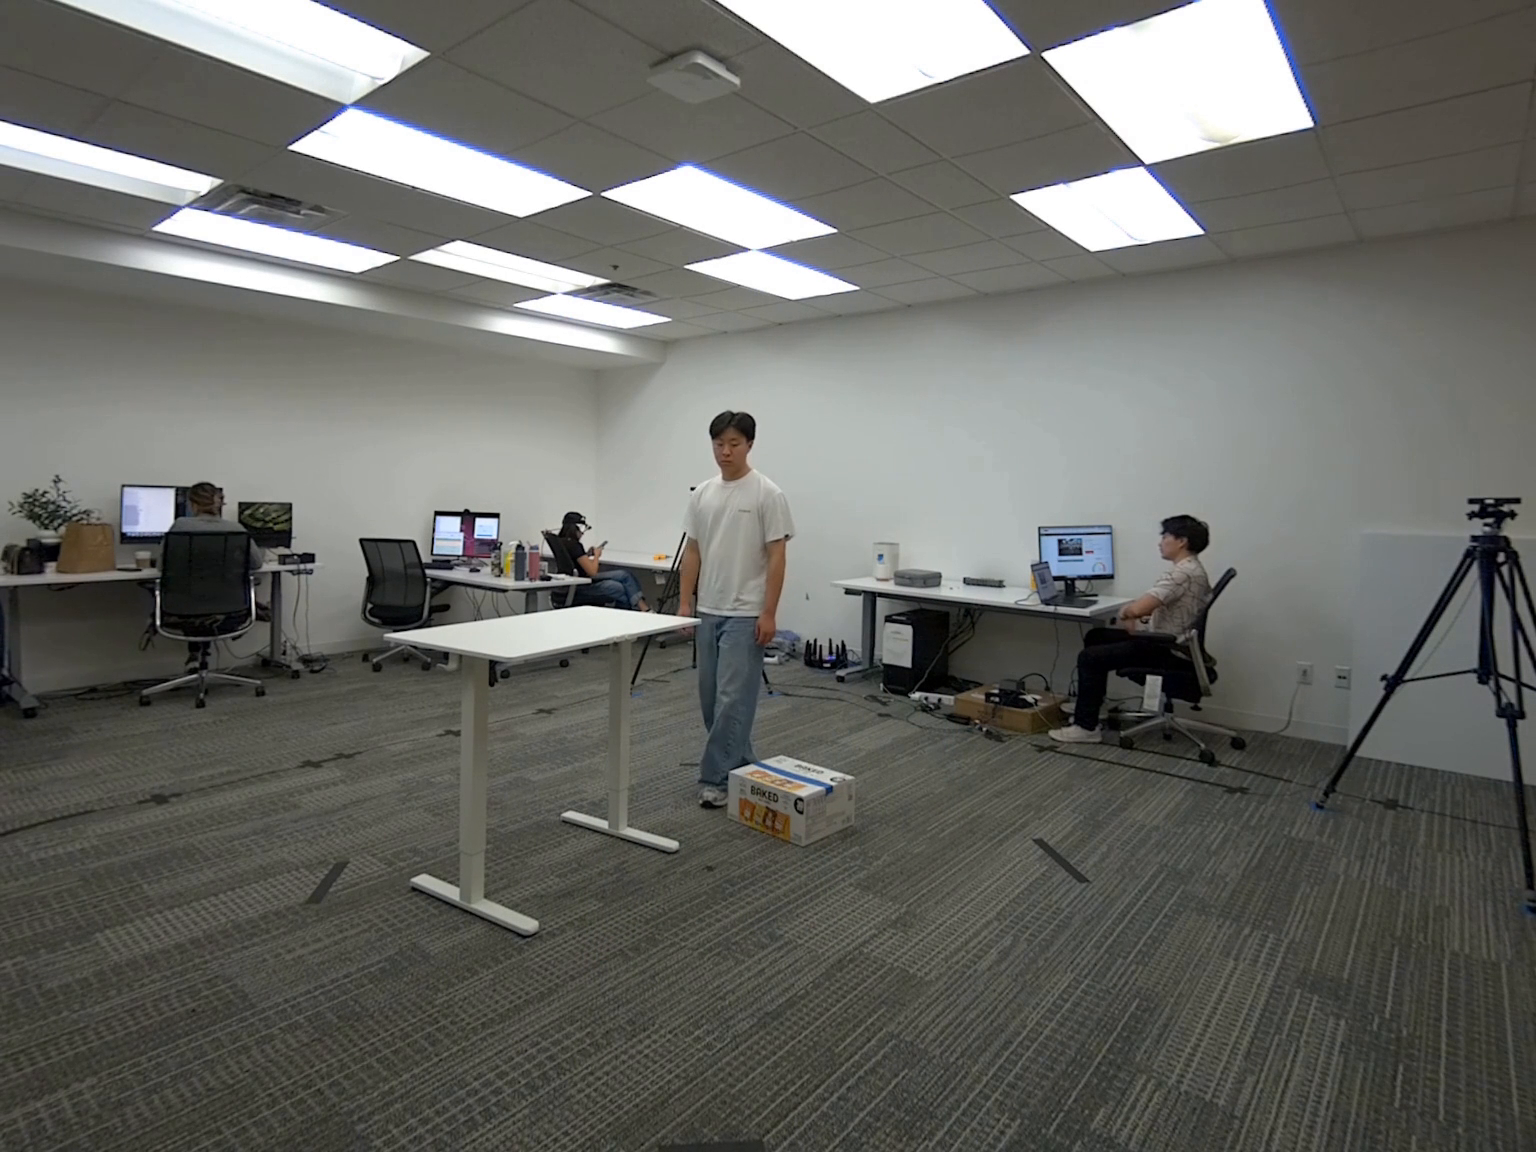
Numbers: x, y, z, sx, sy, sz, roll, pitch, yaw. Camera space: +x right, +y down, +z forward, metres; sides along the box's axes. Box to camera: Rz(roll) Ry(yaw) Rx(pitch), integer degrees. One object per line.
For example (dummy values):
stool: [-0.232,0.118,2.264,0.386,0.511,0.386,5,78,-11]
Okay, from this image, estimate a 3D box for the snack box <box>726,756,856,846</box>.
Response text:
snack box: [0.087,0.926,3.555,0.419,0.205,0.330,6,7,42]
